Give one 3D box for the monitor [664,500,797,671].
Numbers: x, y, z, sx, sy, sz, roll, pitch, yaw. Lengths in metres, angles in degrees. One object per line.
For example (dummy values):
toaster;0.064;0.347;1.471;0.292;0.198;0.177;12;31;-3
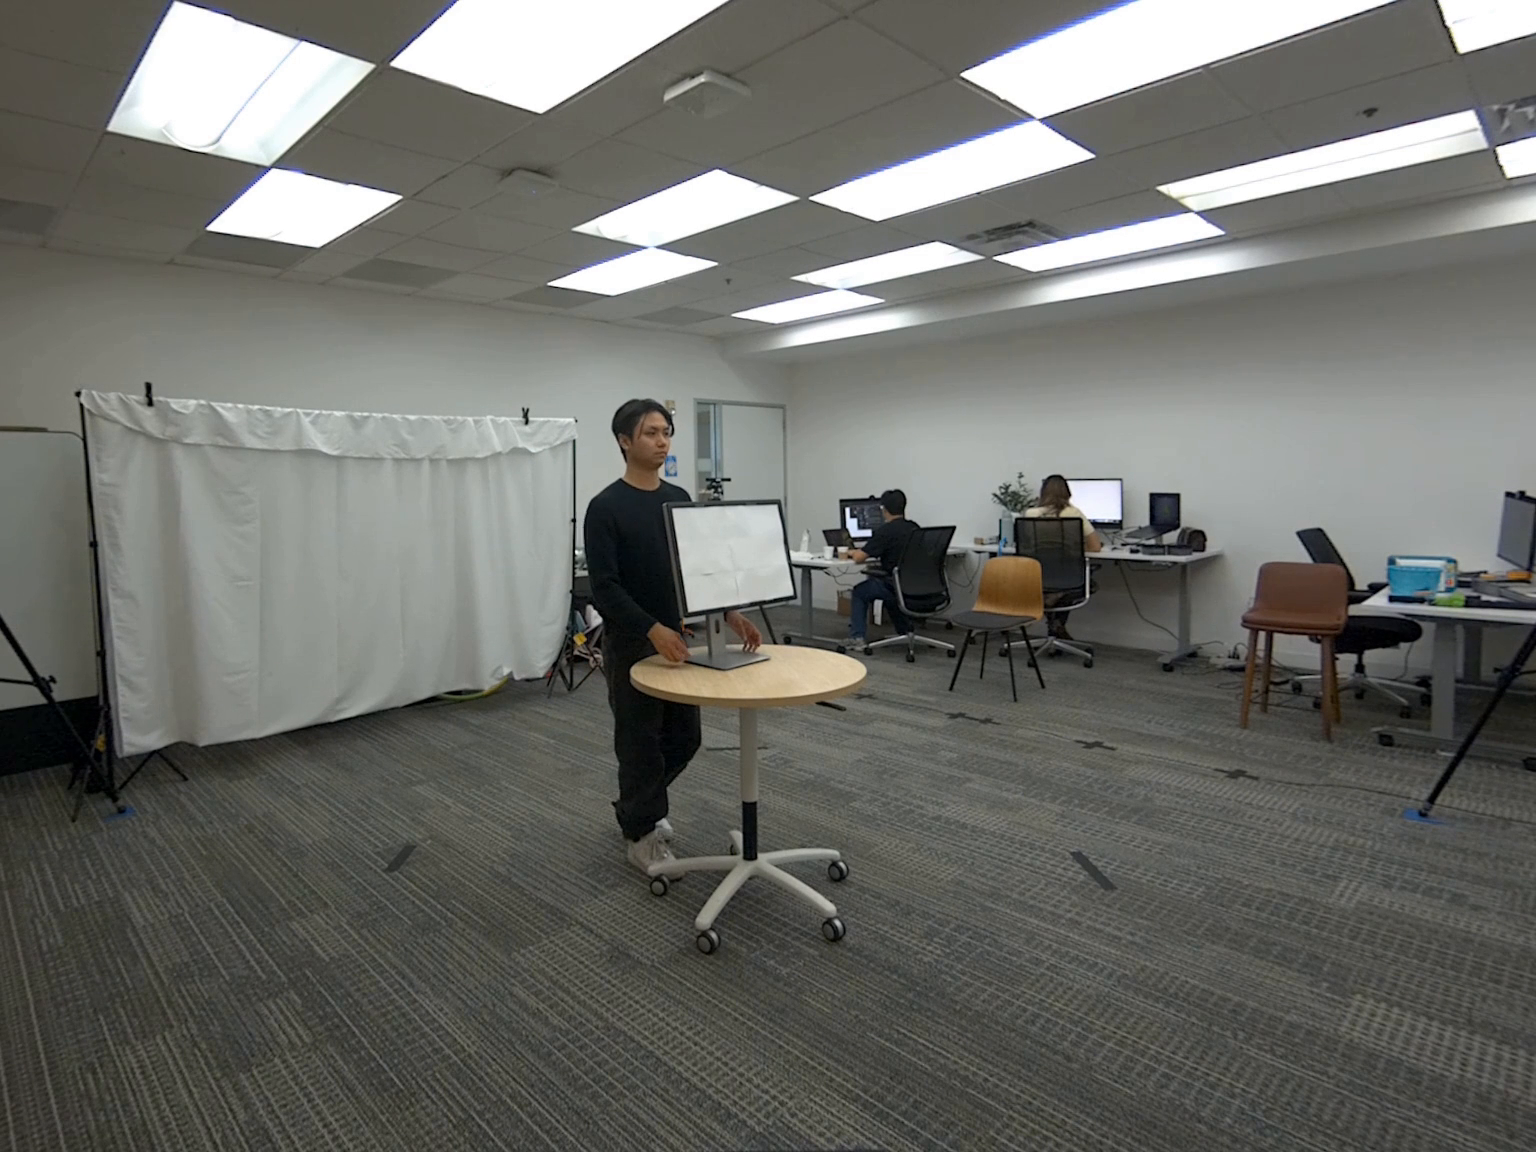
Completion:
monitor;-0.139;0.017;2.882;0.193;0.520;0.525;3;7;42
